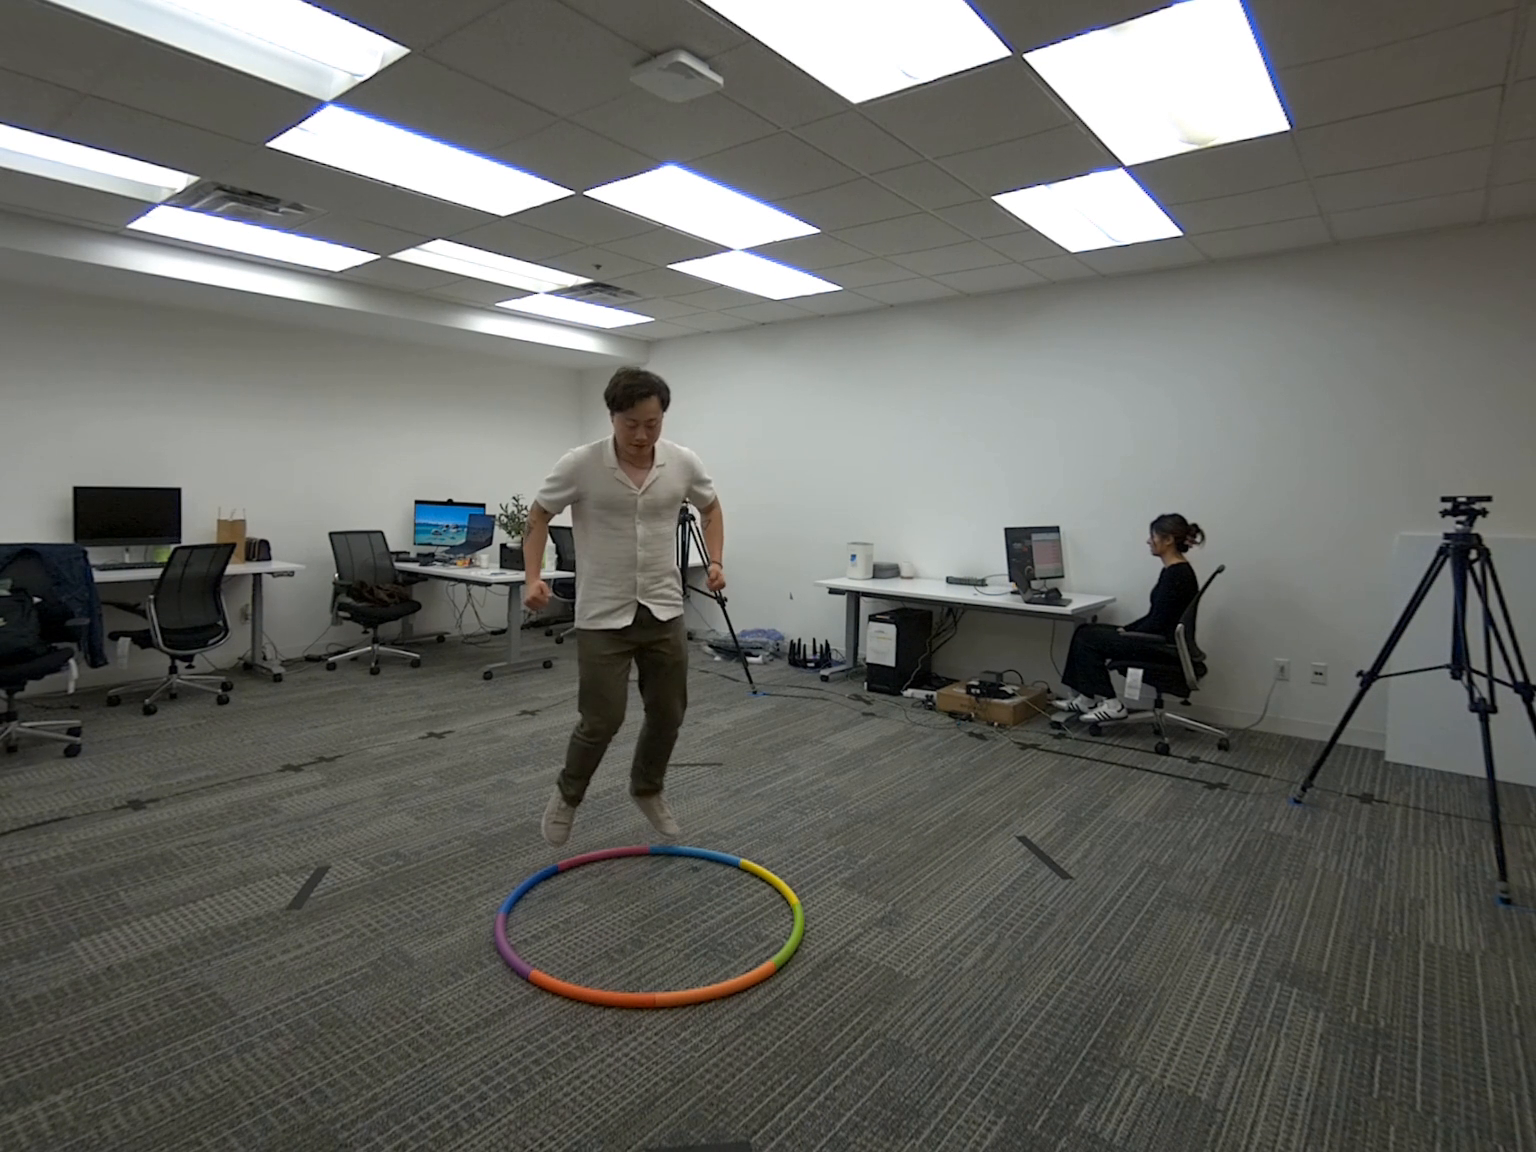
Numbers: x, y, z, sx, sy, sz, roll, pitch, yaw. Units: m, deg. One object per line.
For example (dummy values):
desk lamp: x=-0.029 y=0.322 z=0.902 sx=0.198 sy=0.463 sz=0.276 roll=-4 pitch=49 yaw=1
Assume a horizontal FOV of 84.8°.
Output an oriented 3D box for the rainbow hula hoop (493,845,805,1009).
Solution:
rainbow hula hoop: x=-0.382 y=1.069 z=2.748 sx=0.978 sy=0.035 sz=0.984 roll=1 pitch=6 yaw=-2
